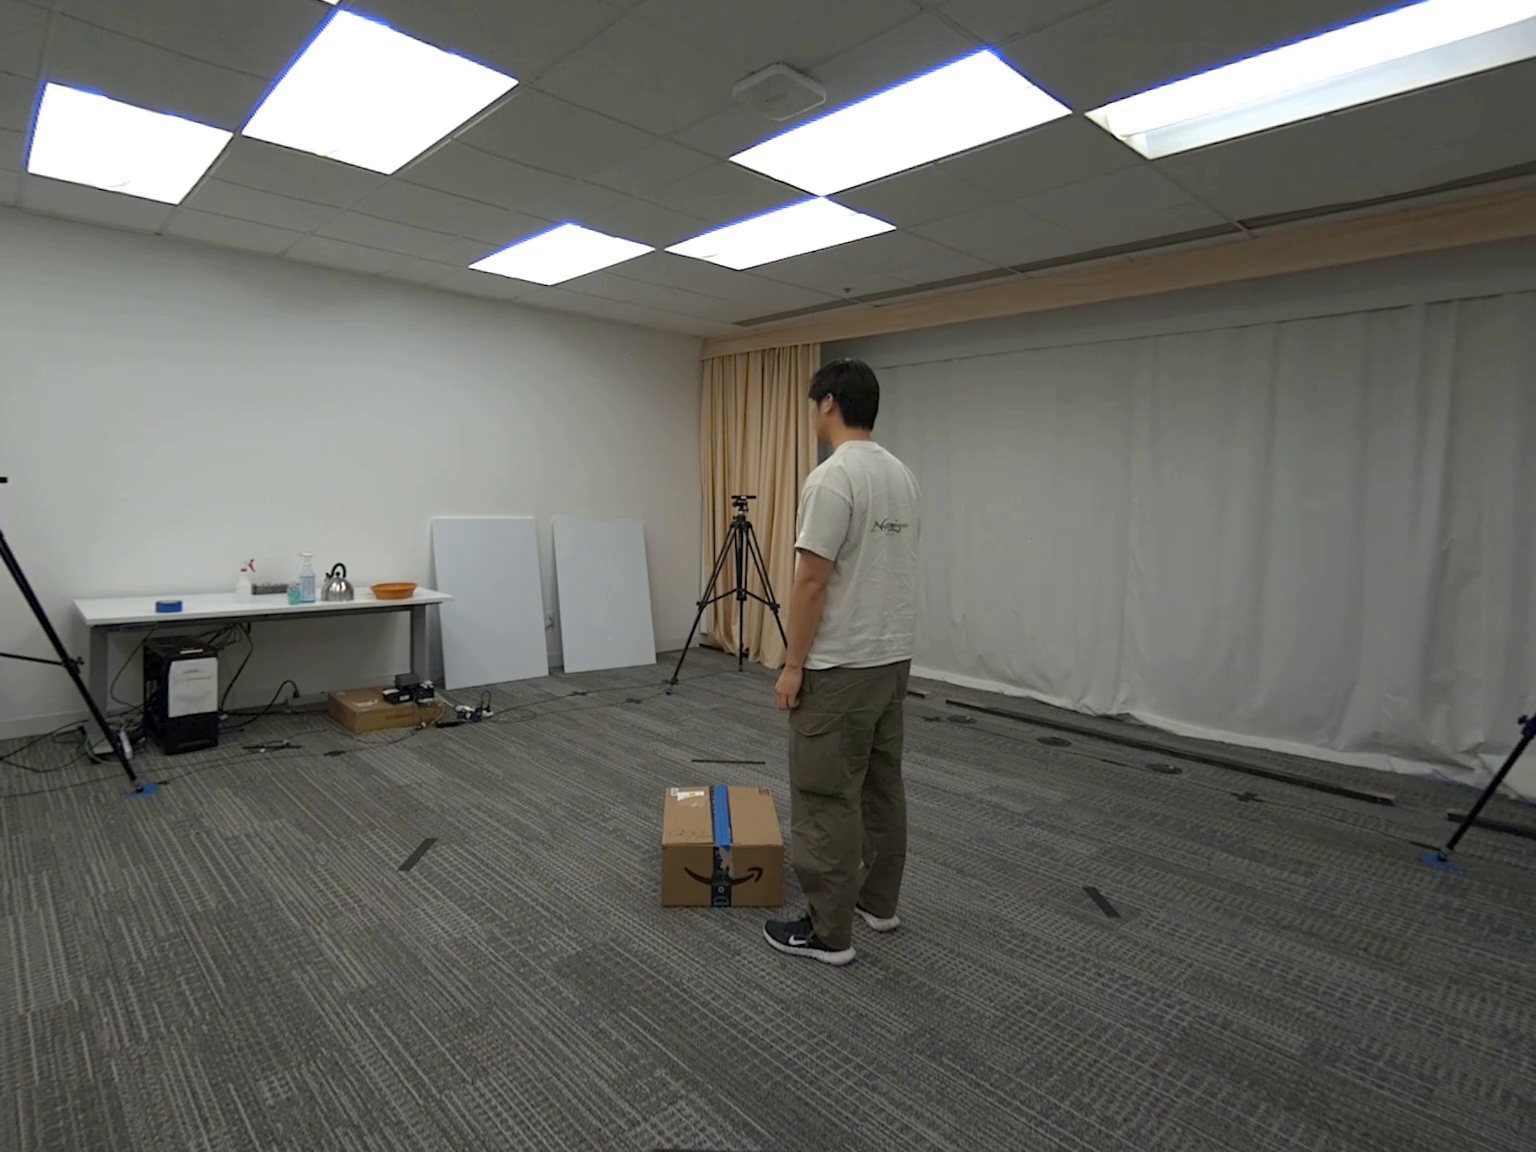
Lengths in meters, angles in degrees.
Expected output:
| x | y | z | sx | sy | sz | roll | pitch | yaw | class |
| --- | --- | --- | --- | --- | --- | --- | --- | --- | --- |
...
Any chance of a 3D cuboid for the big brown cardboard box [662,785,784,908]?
| x | y | z | sx | sy | sz | roll | pitch | yaw | class |
| --- | --- | --- | --- | --- | --- | --- | --- | --- | --- |
| -0.186 | 0.985 | 3.132 | 0.416 | 0.232 | 0.593 | 1 | 6 | -4 | big brown cardboard box |
